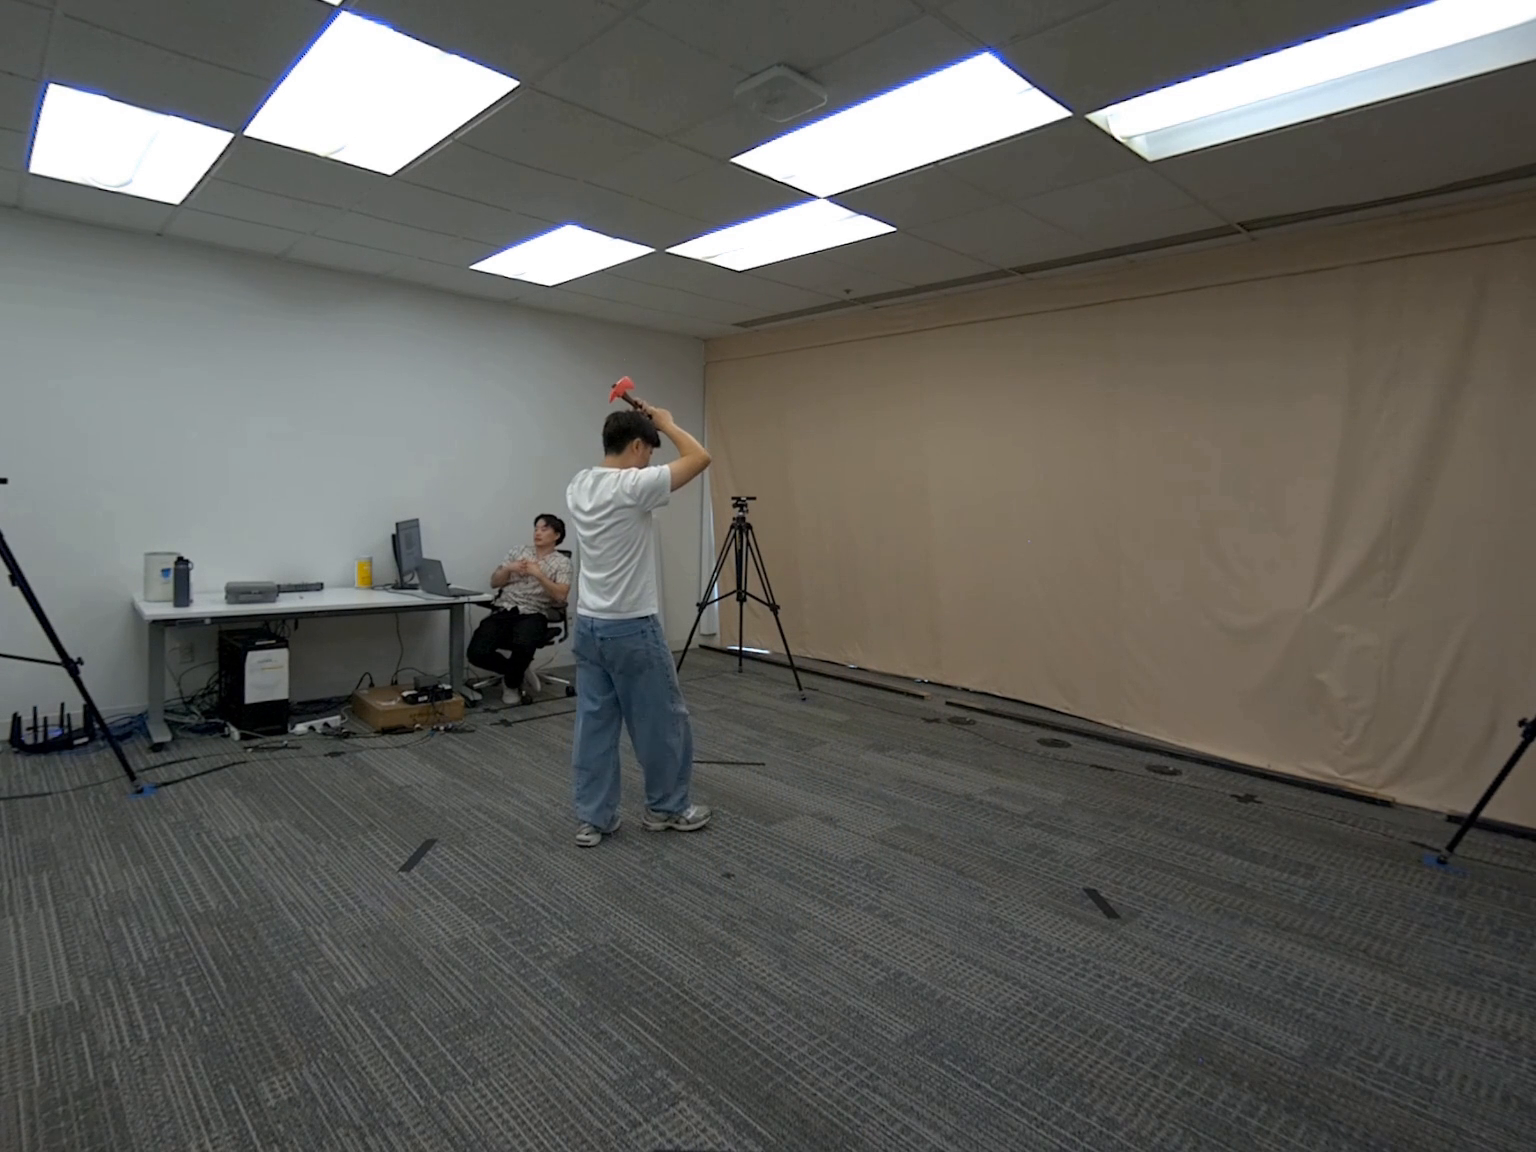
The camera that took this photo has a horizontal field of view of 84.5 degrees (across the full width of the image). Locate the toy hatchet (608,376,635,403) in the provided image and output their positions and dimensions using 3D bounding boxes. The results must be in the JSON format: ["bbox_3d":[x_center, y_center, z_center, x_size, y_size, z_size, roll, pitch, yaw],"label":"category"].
[{"bbox_3d":[-0.527,-0.728,3.447,0.263,0.132,0.030,17,-11,-30],"label":"toy hatchet"}]
